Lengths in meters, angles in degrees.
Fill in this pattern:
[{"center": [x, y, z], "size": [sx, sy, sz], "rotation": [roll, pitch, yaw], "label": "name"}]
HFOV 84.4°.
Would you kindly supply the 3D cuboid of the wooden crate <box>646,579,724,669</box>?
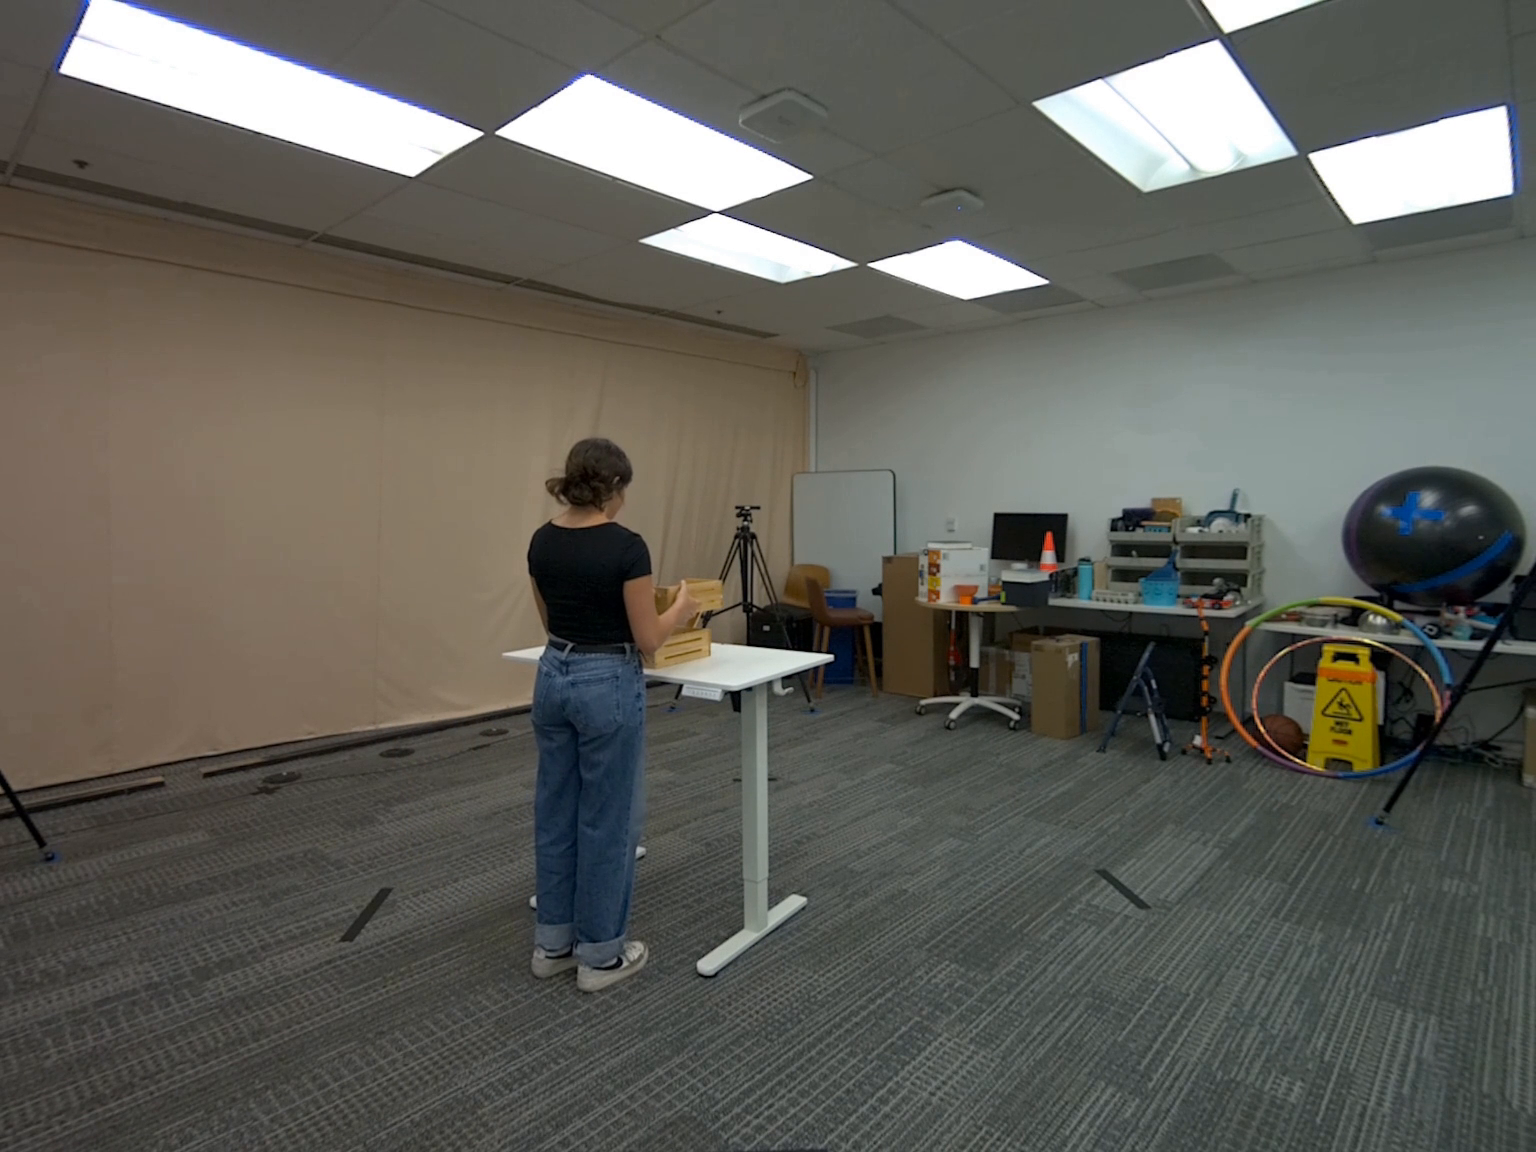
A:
[{"center": [-0.358, 0.147, 2.800], "size": [0.311, 0.273, 0.315], "rotation": [2, 4, 32], "label": "wooden crate"}]
